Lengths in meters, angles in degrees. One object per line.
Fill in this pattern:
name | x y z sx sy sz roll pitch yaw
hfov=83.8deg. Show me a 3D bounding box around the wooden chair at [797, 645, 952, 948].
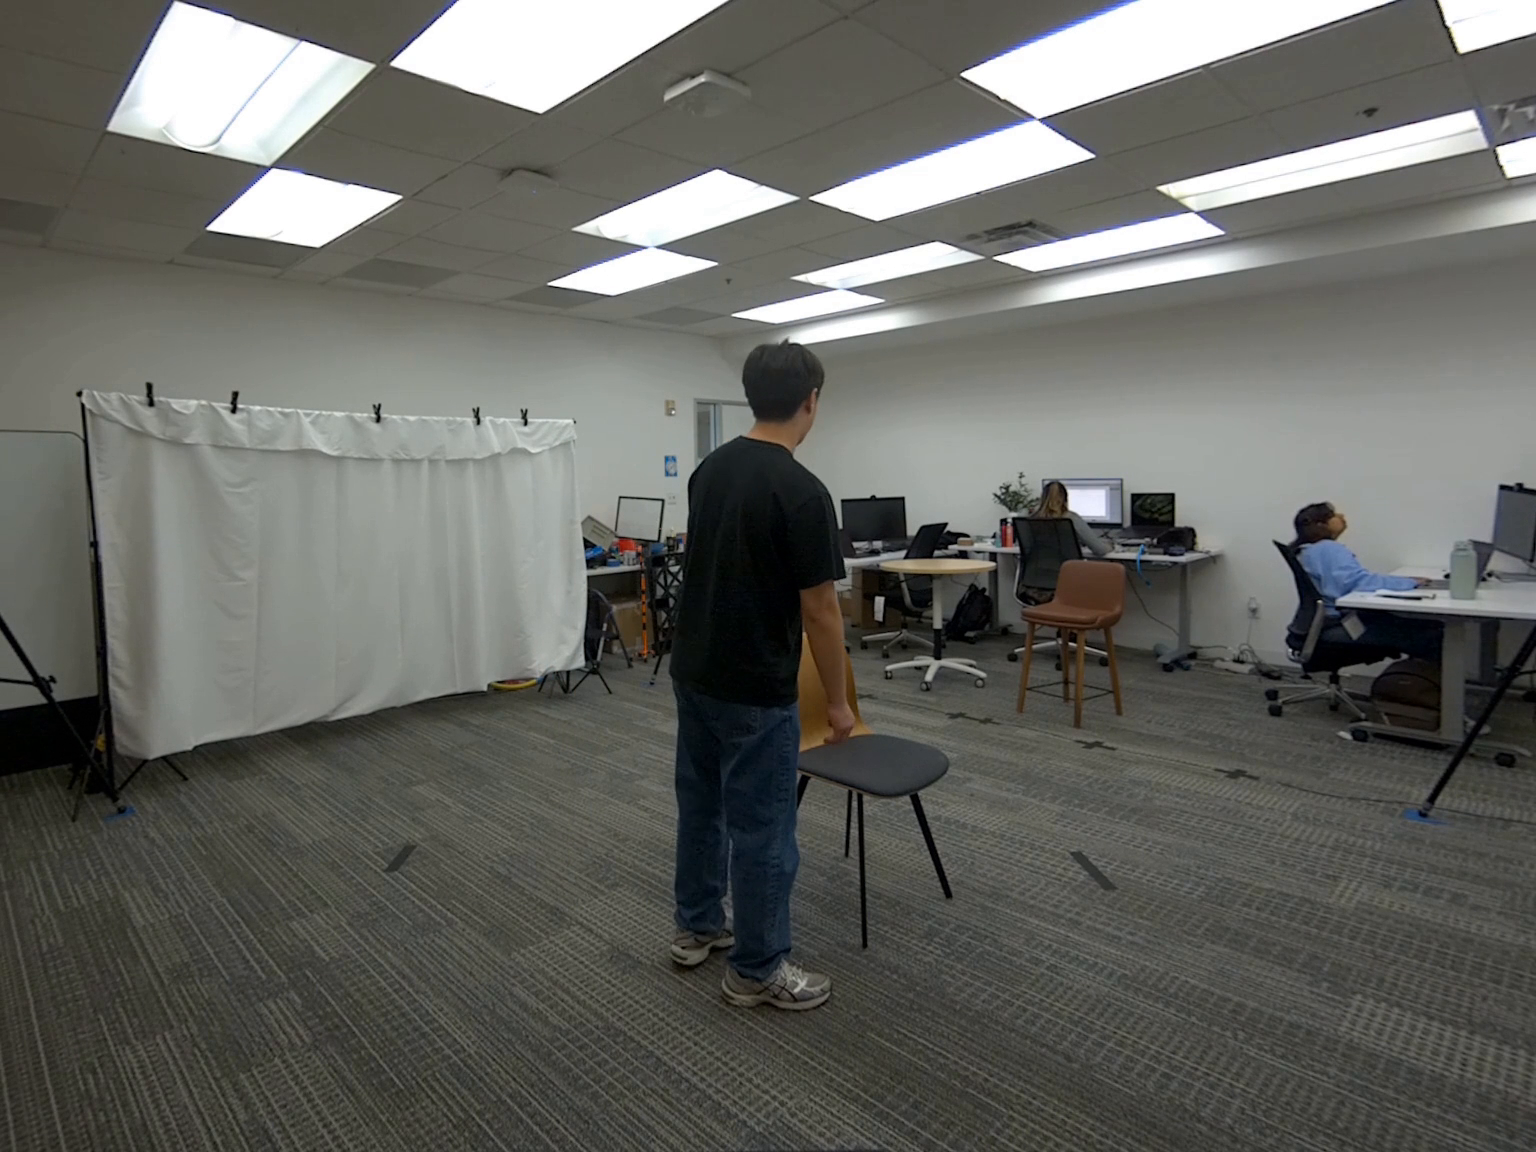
wooden chair | 0.295 0.641 2.803 0.465 0.877 0.538 -4 2 -44
